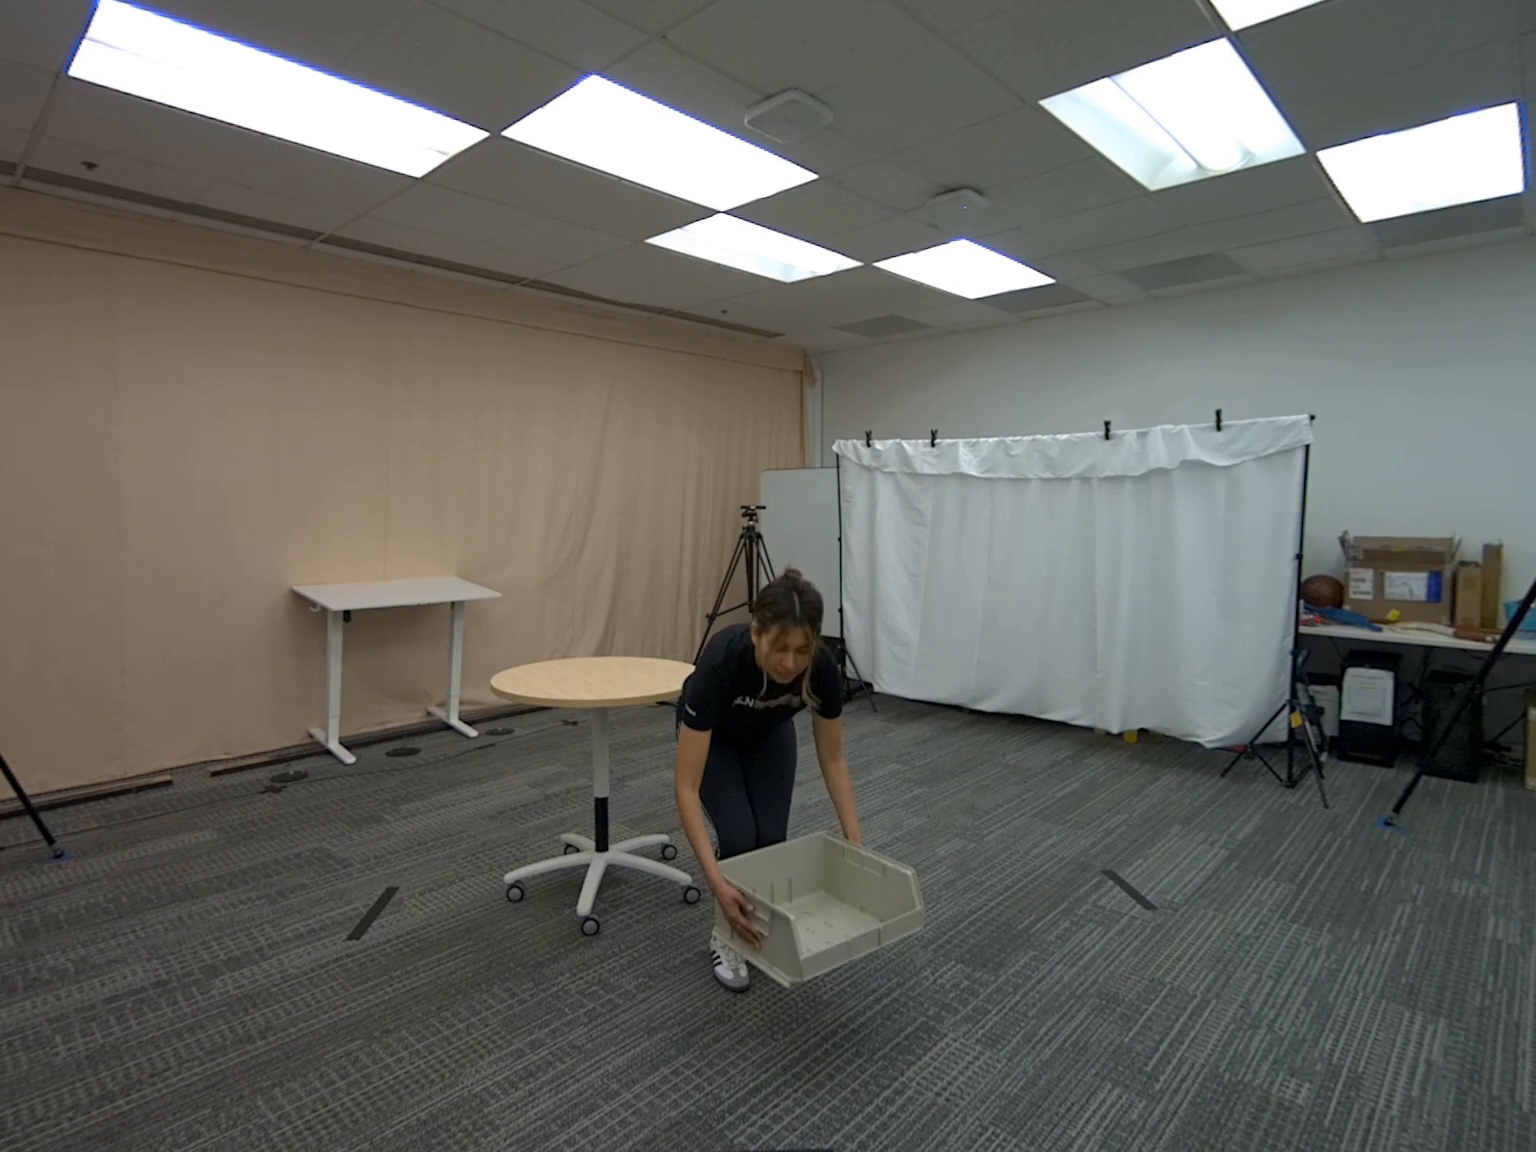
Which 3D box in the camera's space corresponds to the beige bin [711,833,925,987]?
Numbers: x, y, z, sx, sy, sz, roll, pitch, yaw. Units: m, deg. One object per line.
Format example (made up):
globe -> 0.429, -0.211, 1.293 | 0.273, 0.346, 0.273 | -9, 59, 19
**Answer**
beige bin -> 0.124, 0.846, 2.174 | 0.410, 0.189, 0.389 | -4, 4, -37
